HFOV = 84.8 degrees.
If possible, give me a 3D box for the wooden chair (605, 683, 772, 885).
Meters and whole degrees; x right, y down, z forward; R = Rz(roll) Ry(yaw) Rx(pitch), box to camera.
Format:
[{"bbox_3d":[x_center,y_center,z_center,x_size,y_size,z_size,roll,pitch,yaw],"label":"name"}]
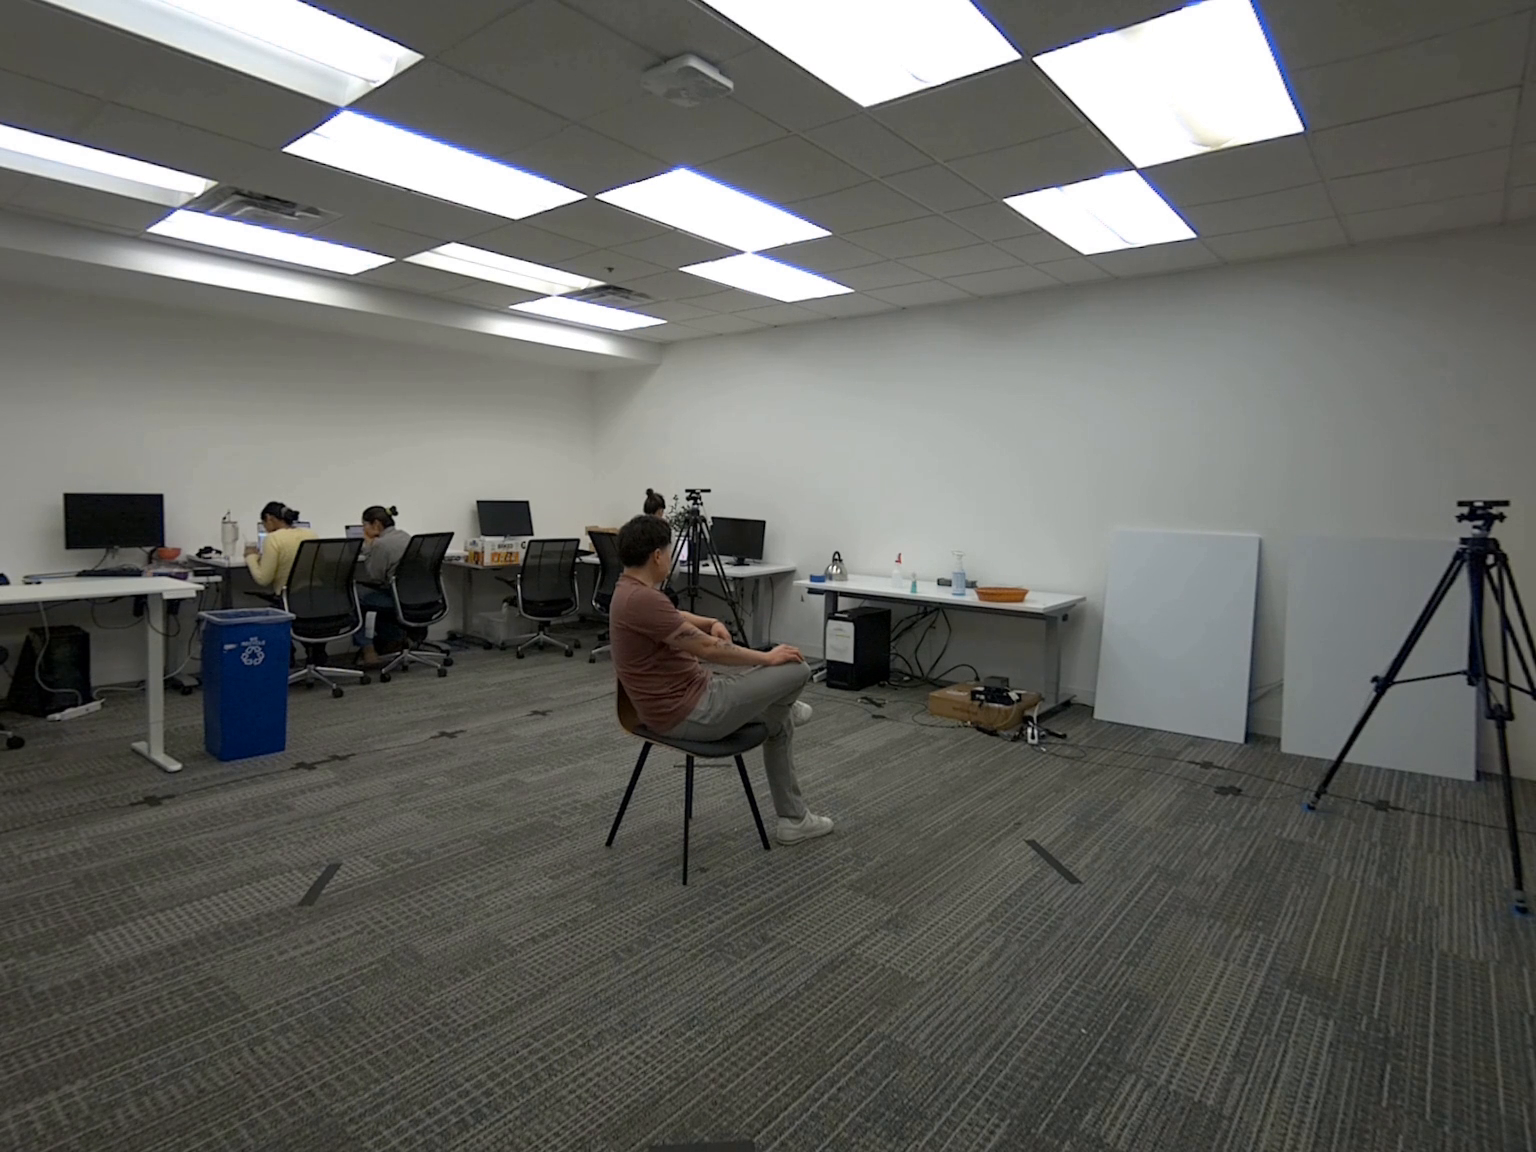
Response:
[{"bbox_3d":[-0.309,0.630,3.269,0.539,0.877,0.463,-2,0,44],"label":"wooden chair"}]
